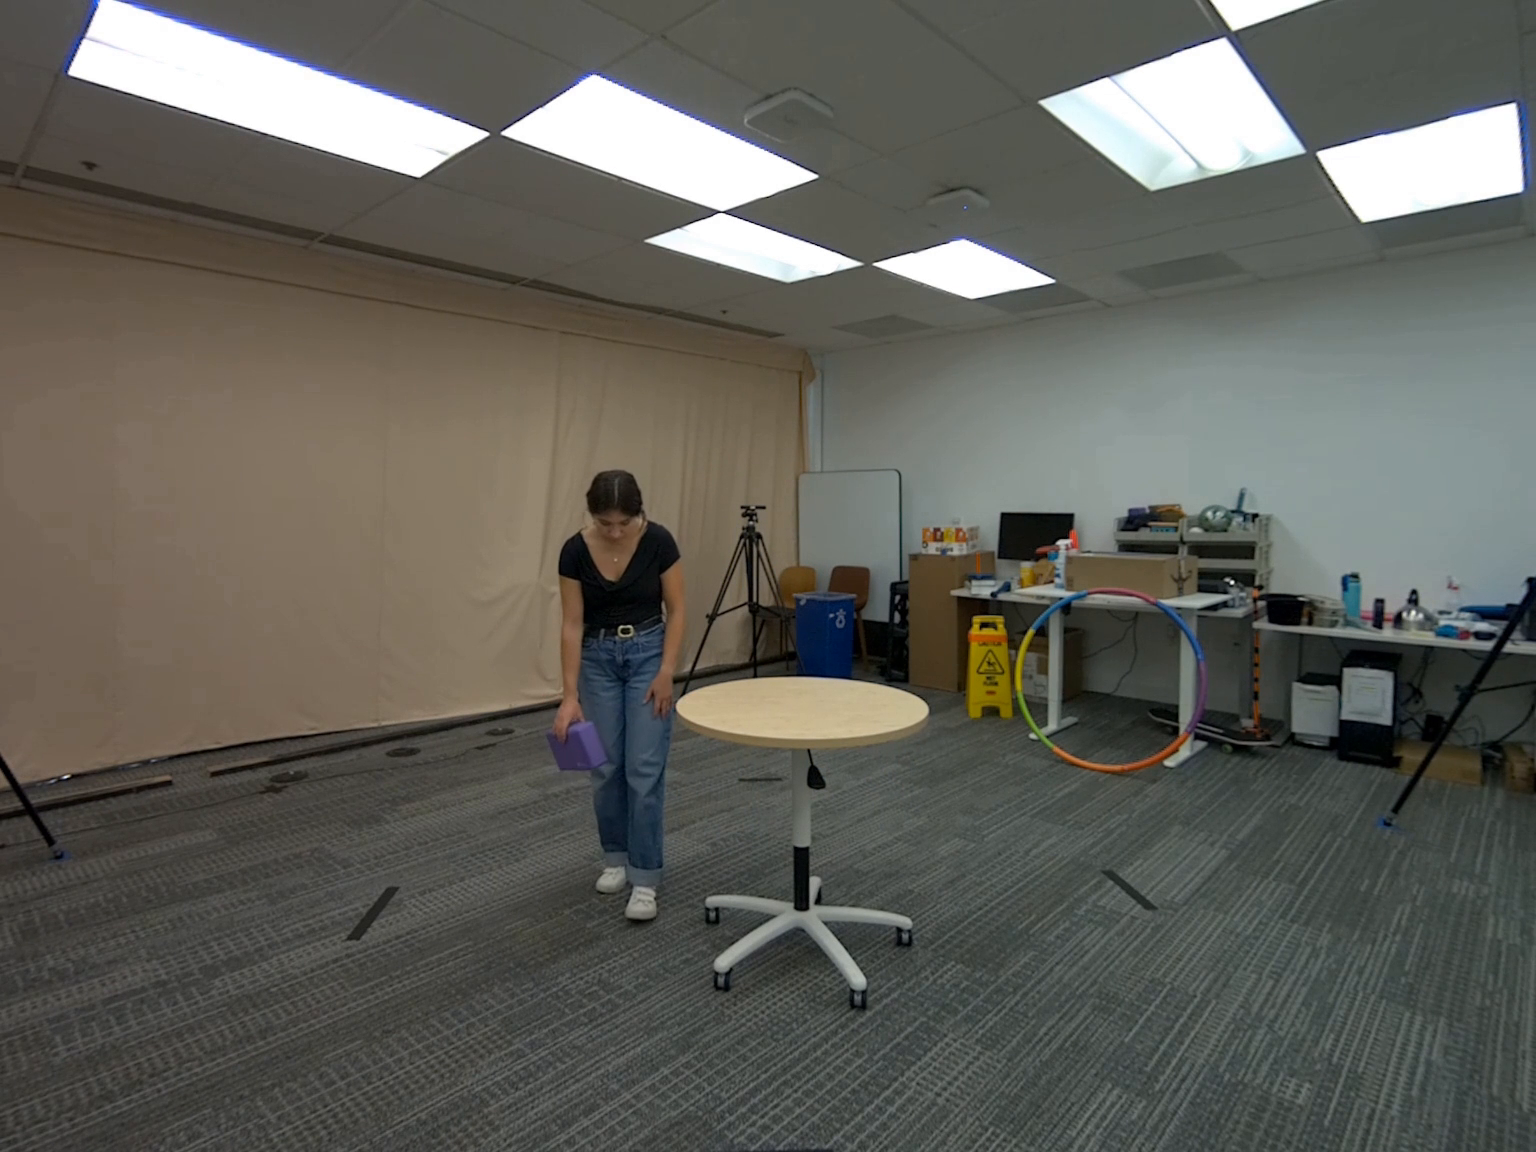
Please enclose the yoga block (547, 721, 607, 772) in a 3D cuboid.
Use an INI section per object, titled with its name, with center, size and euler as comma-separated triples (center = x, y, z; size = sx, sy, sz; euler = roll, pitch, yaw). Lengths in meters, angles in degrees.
[yoga block]
center = -0.657, 0.582, 2.880
size = 0.075, 0.148, 0.235
euler = -23, 5, -41
